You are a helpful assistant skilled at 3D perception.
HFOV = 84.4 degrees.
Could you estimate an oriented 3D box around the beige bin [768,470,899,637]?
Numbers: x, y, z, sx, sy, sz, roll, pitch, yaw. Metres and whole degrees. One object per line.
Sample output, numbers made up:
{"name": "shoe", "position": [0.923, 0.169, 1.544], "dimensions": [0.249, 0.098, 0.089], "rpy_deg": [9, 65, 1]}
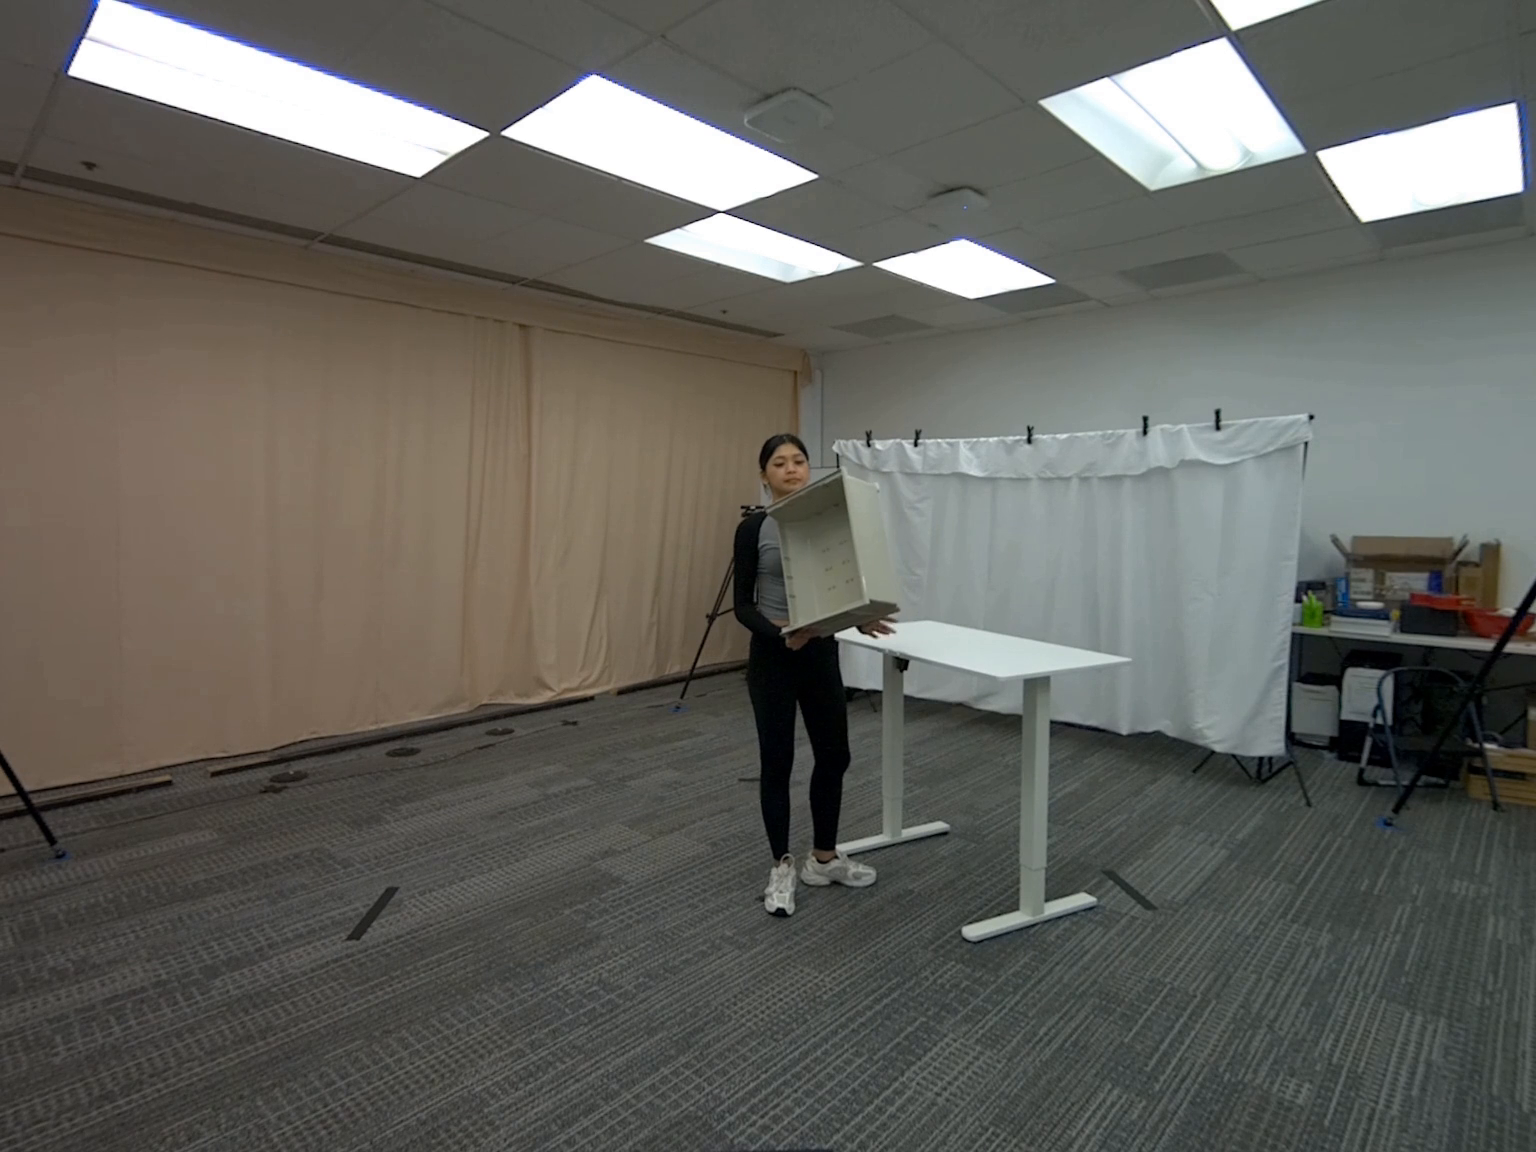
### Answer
{"name": "beige bin", "position": [0.182, -0.050, 2.577], "dimensions": [0.182, 0.428, 0.385], "rpy_deg": [13, -28, -43]}
